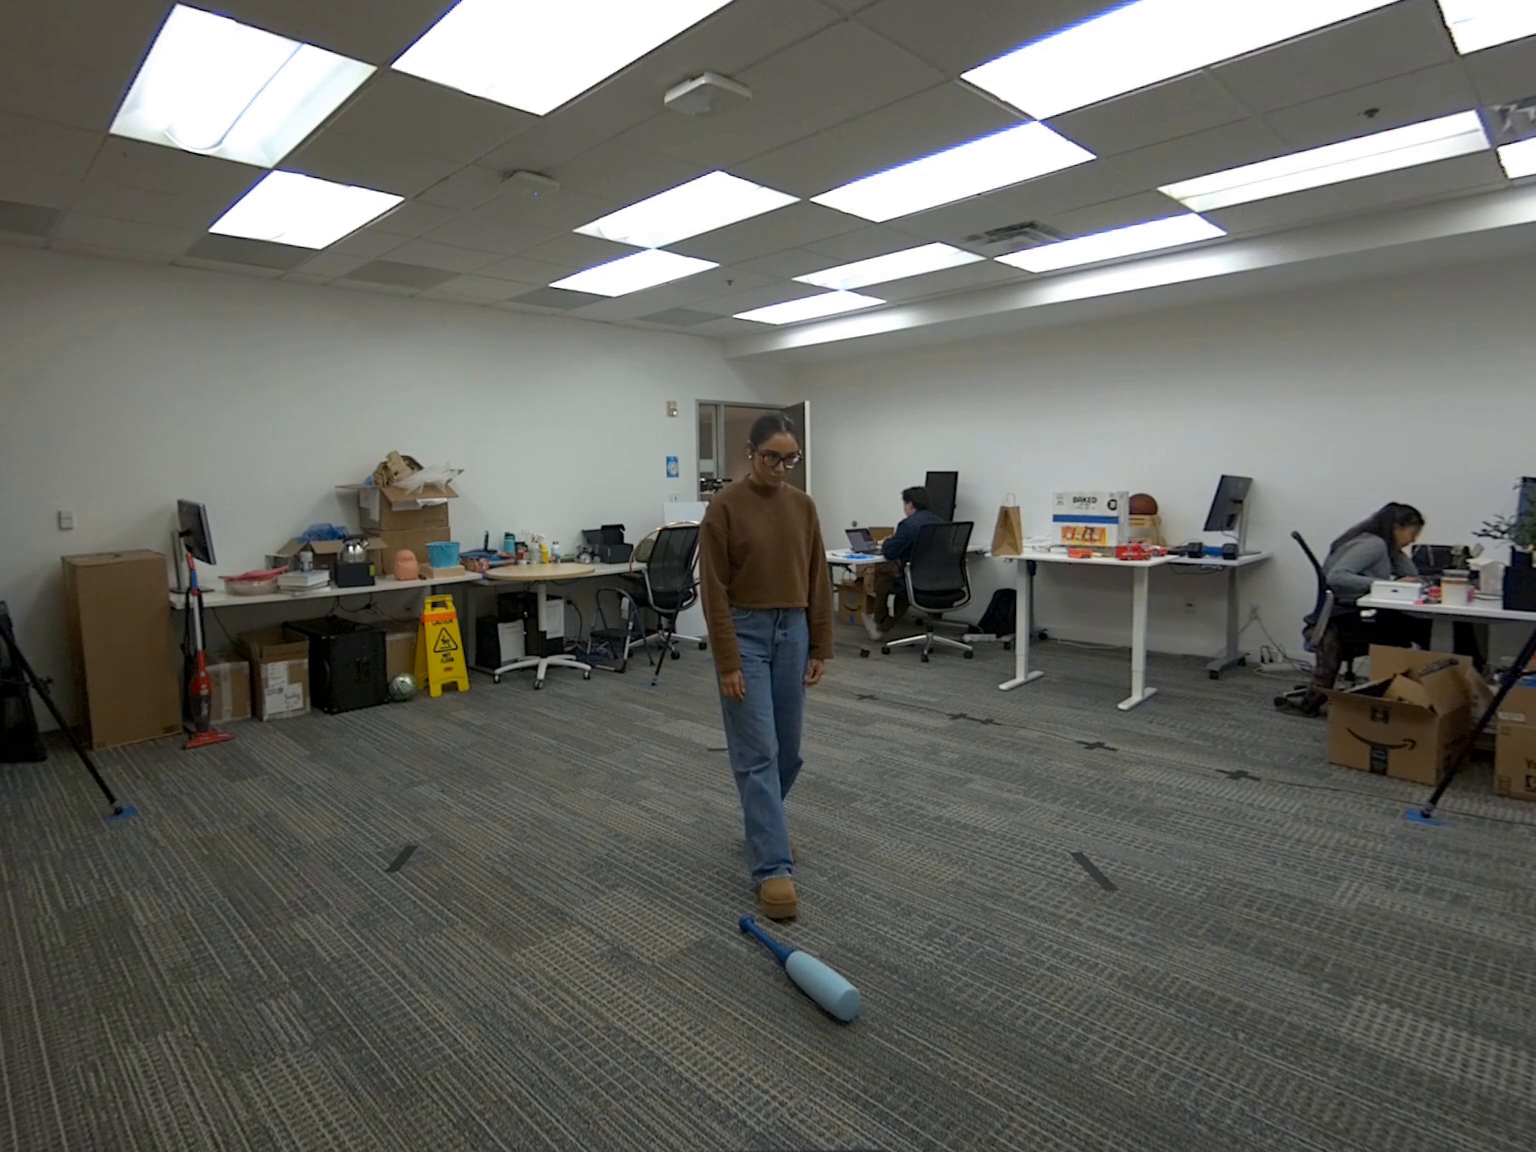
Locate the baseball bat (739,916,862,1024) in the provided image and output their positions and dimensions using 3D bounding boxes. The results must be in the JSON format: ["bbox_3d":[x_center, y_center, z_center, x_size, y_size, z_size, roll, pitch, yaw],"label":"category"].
[{"bbox_3d":[0.072,1.096,2.411,0.087,0.089,0.556,-4,3,-30],"label":"baseball bat"}]
